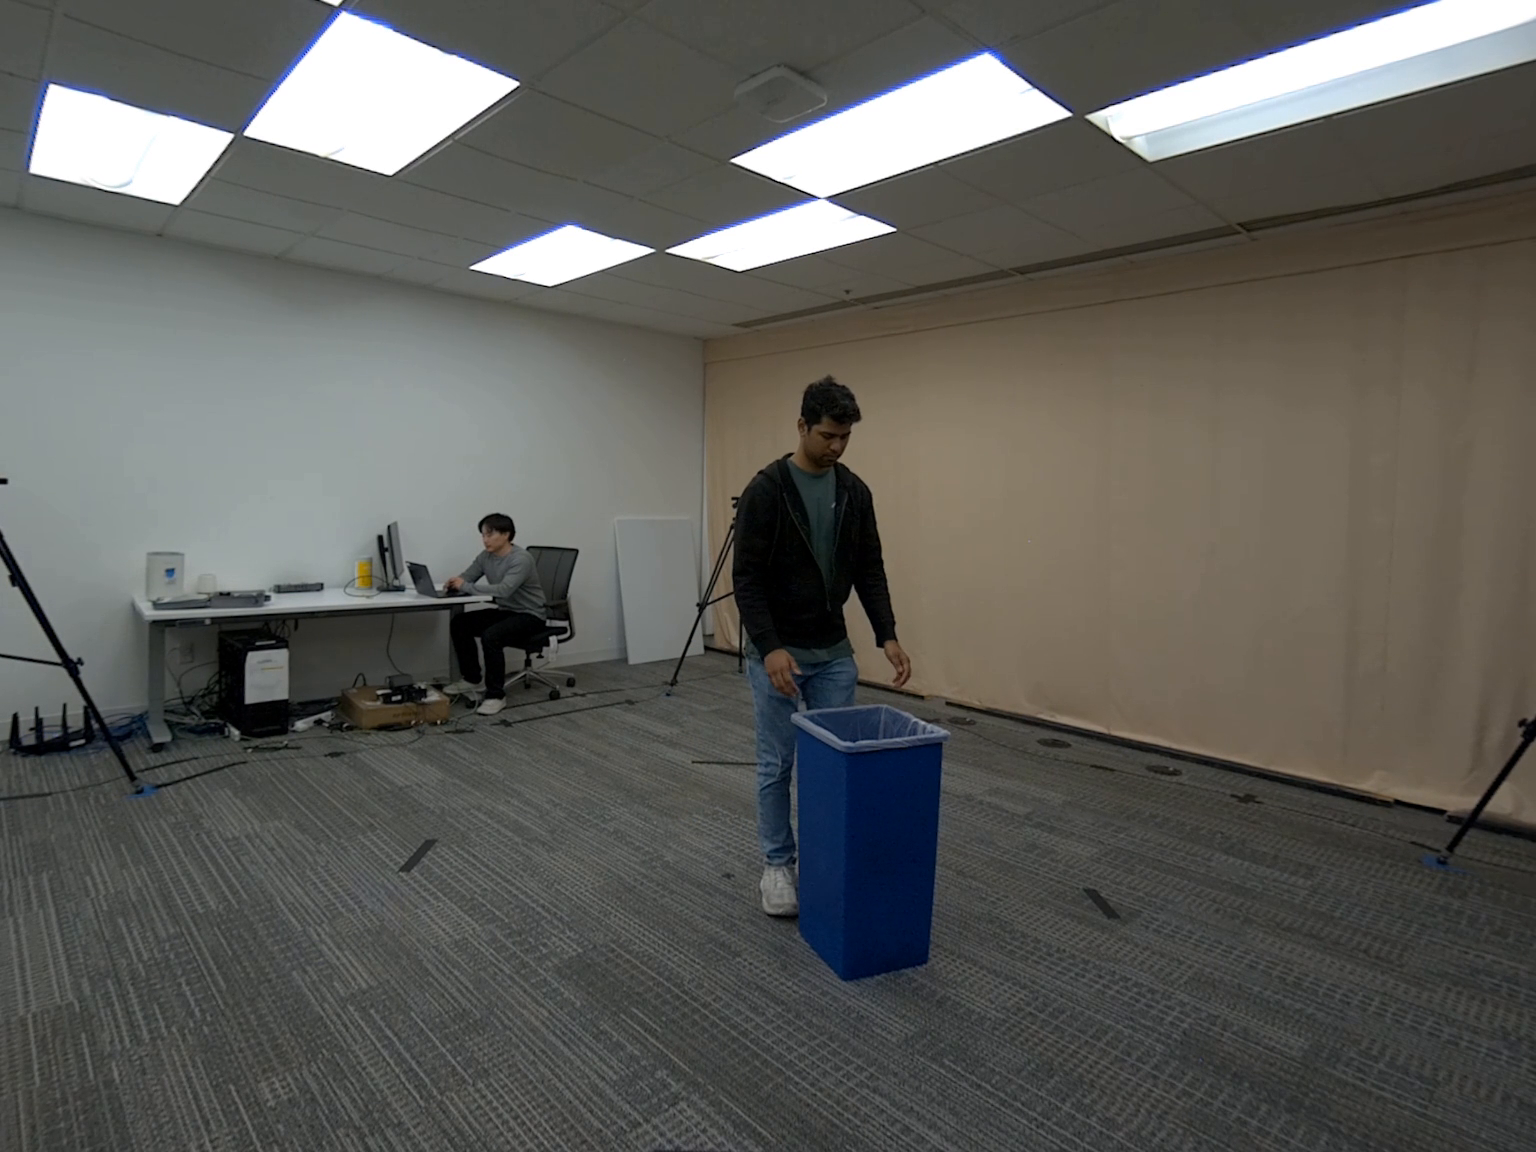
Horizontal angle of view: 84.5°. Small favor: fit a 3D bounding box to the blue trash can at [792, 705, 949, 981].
[{"bbox_3d":[0.295,0.807,2.601,0.368,0.712,0.385,0,4,-24],"label":"blue trash can"}]
